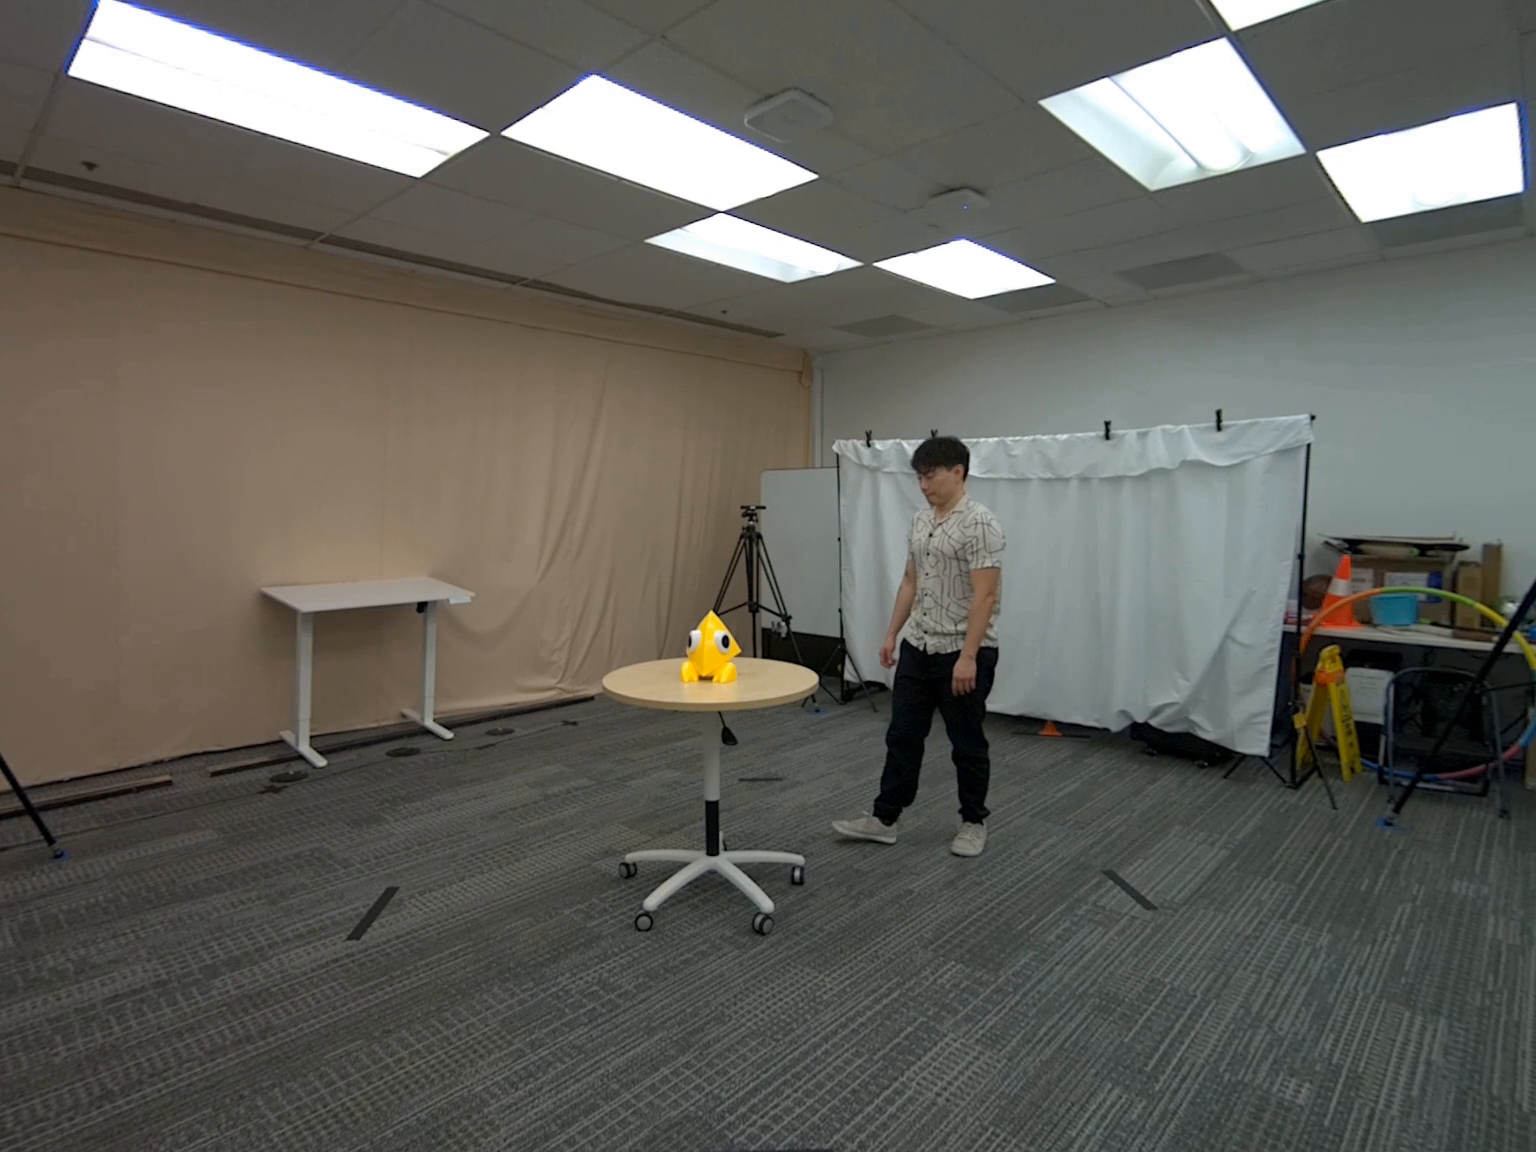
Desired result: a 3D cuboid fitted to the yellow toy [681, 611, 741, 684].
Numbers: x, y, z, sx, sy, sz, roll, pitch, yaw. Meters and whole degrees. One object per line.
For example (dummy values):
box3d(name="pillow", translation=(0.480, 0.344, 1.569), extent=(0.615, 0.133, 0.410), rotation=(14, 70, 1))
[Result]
box3d(name="yellow toy", translation=(-0.211, 0.247, 2.985), extent=(0.207, 0.230, 0.191), rotation=(1, 3, 11))
